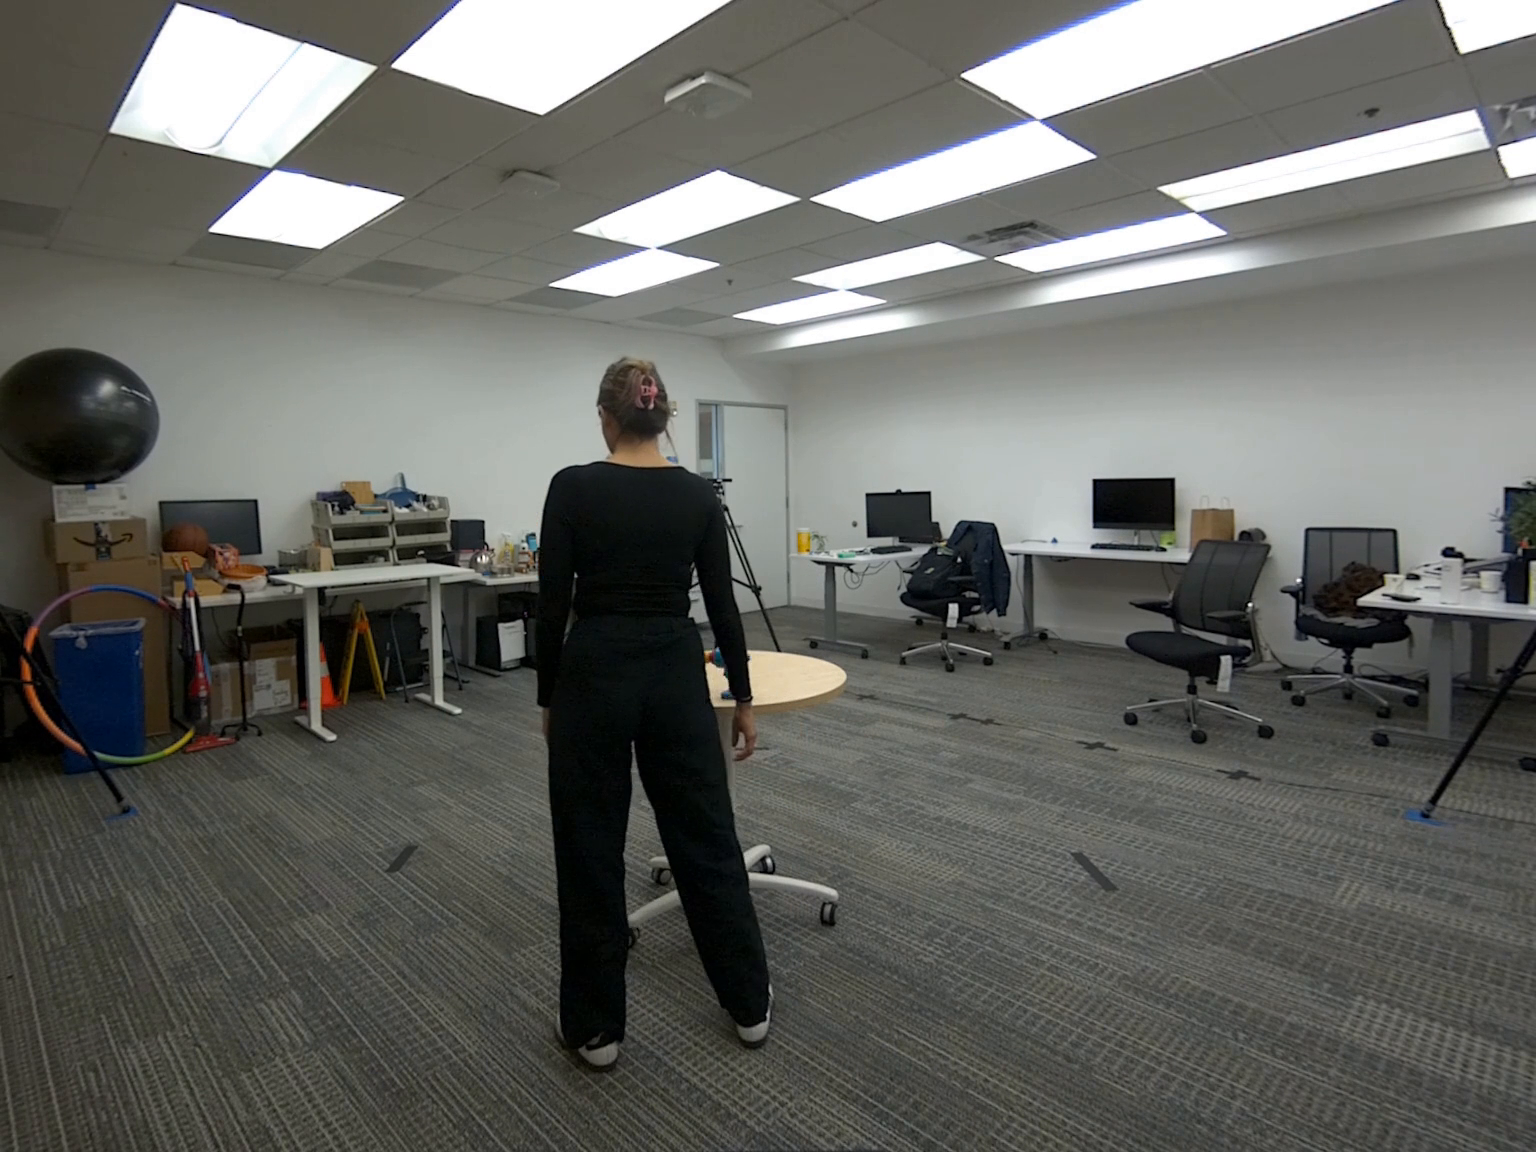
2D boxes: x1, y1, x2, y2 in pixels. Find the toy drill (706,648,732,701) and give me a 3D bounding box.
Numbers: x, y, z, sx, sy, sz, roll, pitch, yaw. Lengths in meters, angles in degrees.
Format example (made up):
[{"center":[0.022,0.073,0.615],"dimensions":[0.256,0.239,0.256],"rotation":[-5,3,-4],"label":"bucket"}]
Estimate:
[{"center":[-0.124,0.274,2.390],"dimensions":[0.171,0.145,0.061],"rotation":[-1,6,5],"label":"toy drill"}]
